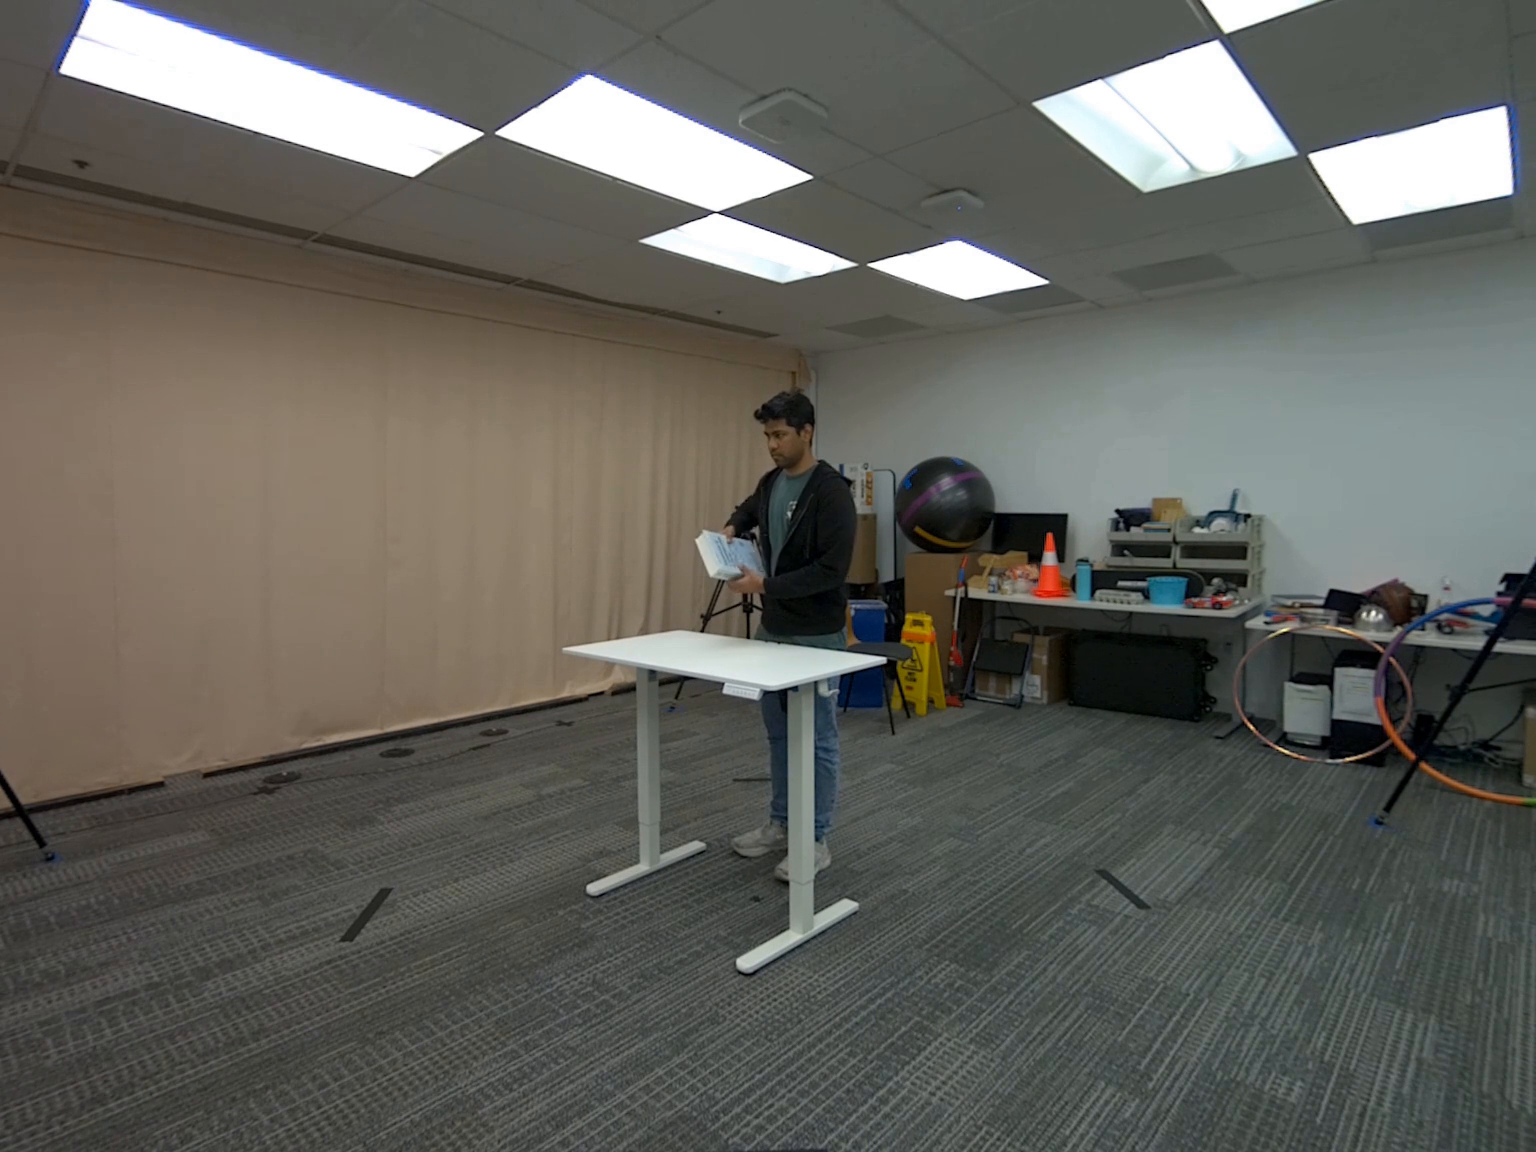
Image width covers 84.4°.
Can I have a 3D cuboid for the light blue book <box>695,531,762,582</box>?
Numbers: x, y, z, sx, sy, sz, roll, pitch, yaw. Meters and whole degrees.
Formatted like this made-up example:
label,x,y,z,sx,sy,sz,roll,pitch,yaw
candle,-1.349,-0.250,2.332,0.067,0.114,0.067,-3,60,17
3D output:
label,x,y,z,sx,sy,sz,roll,pitch,yaw
light blue book,-0.131,-0.060,3.226,0.252,0.196,0.059,13,-47,-43
